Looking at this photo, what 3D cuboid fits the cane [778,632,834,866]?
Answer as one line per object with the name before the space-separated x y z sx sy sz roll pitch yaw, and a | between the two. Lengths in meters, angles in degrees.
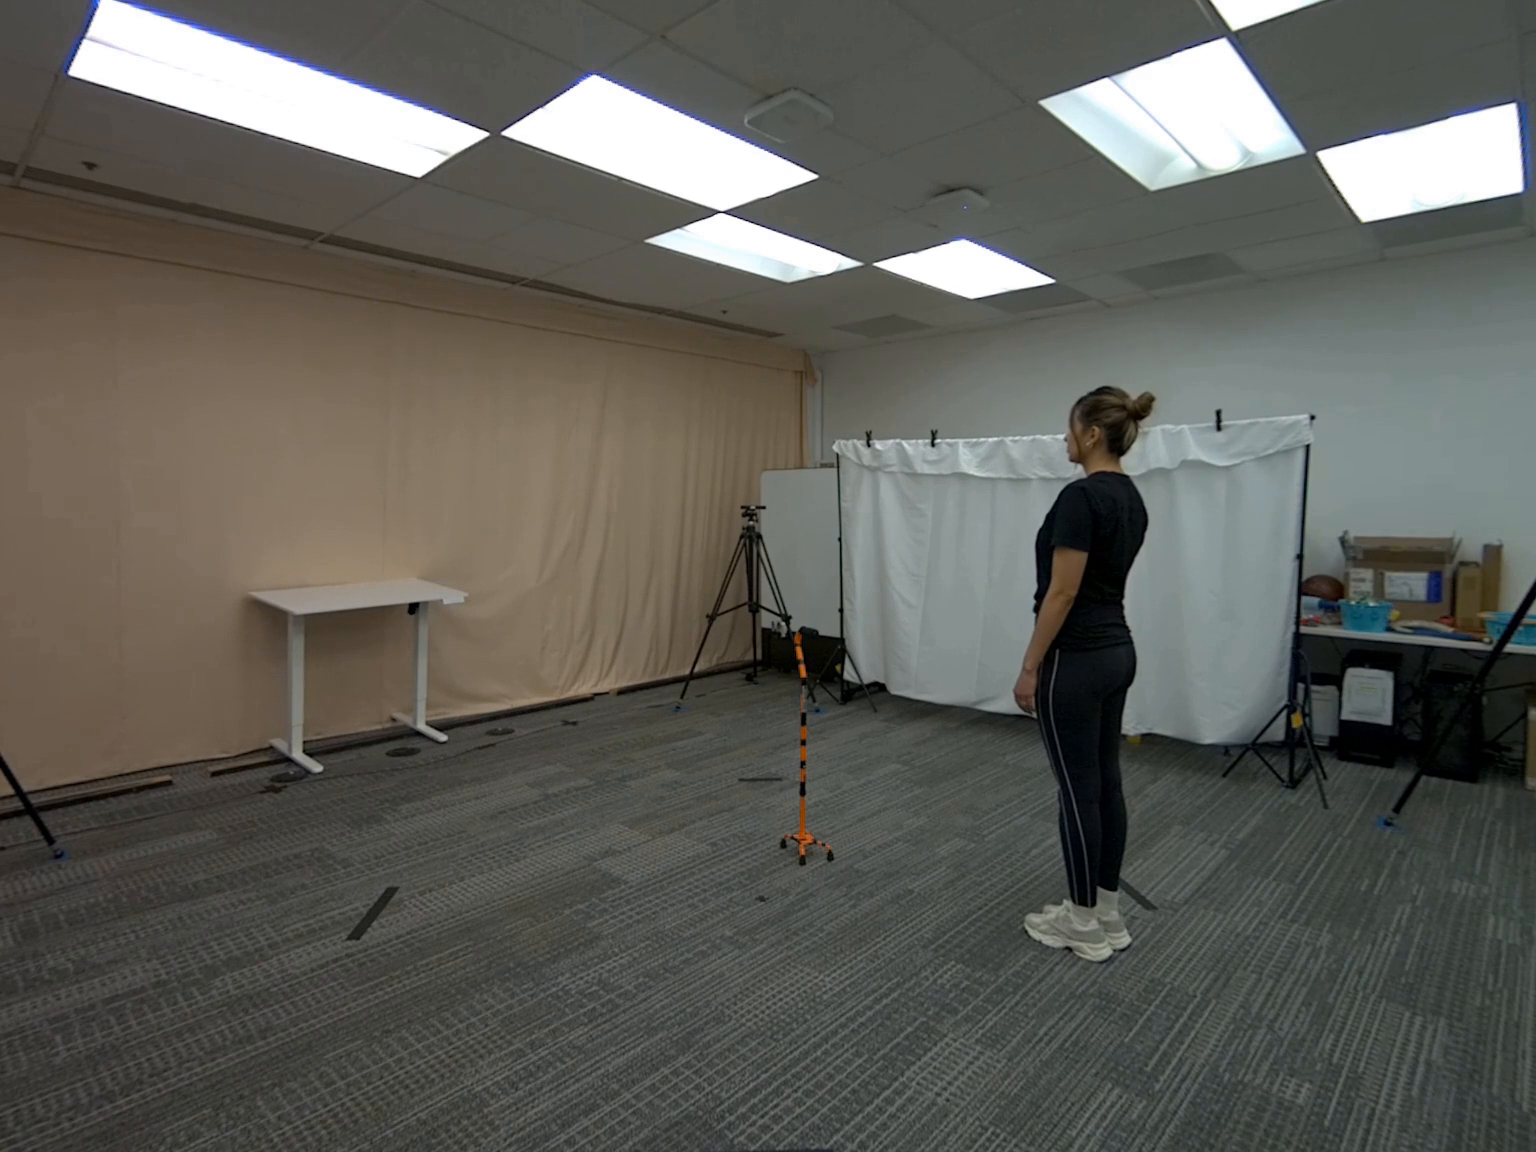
cane | 0.157 0.659 3.349 0.149 0.906 0.211 -2 3 -19
